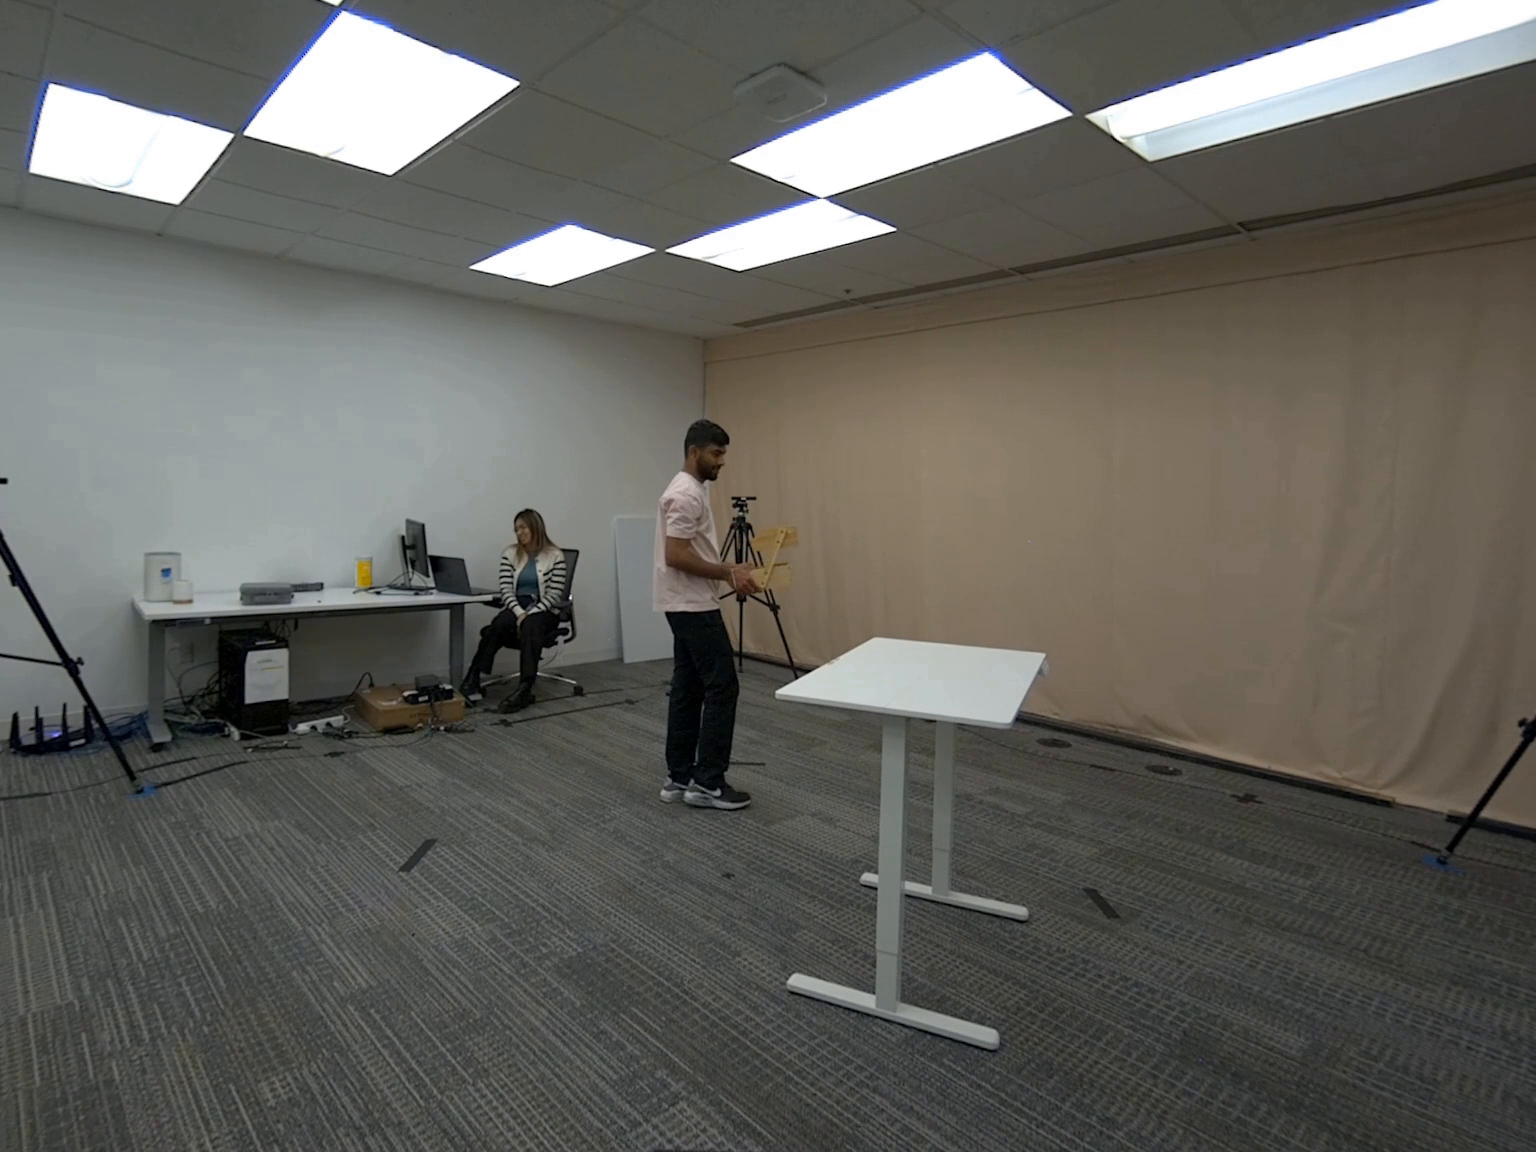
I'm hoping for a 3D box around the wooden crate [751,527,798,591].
[{"bbox_3d":[-0.023,-0.088,3.835,0.303,0.273,0.323,-6,0,3],"label":"wooden crate"}]
